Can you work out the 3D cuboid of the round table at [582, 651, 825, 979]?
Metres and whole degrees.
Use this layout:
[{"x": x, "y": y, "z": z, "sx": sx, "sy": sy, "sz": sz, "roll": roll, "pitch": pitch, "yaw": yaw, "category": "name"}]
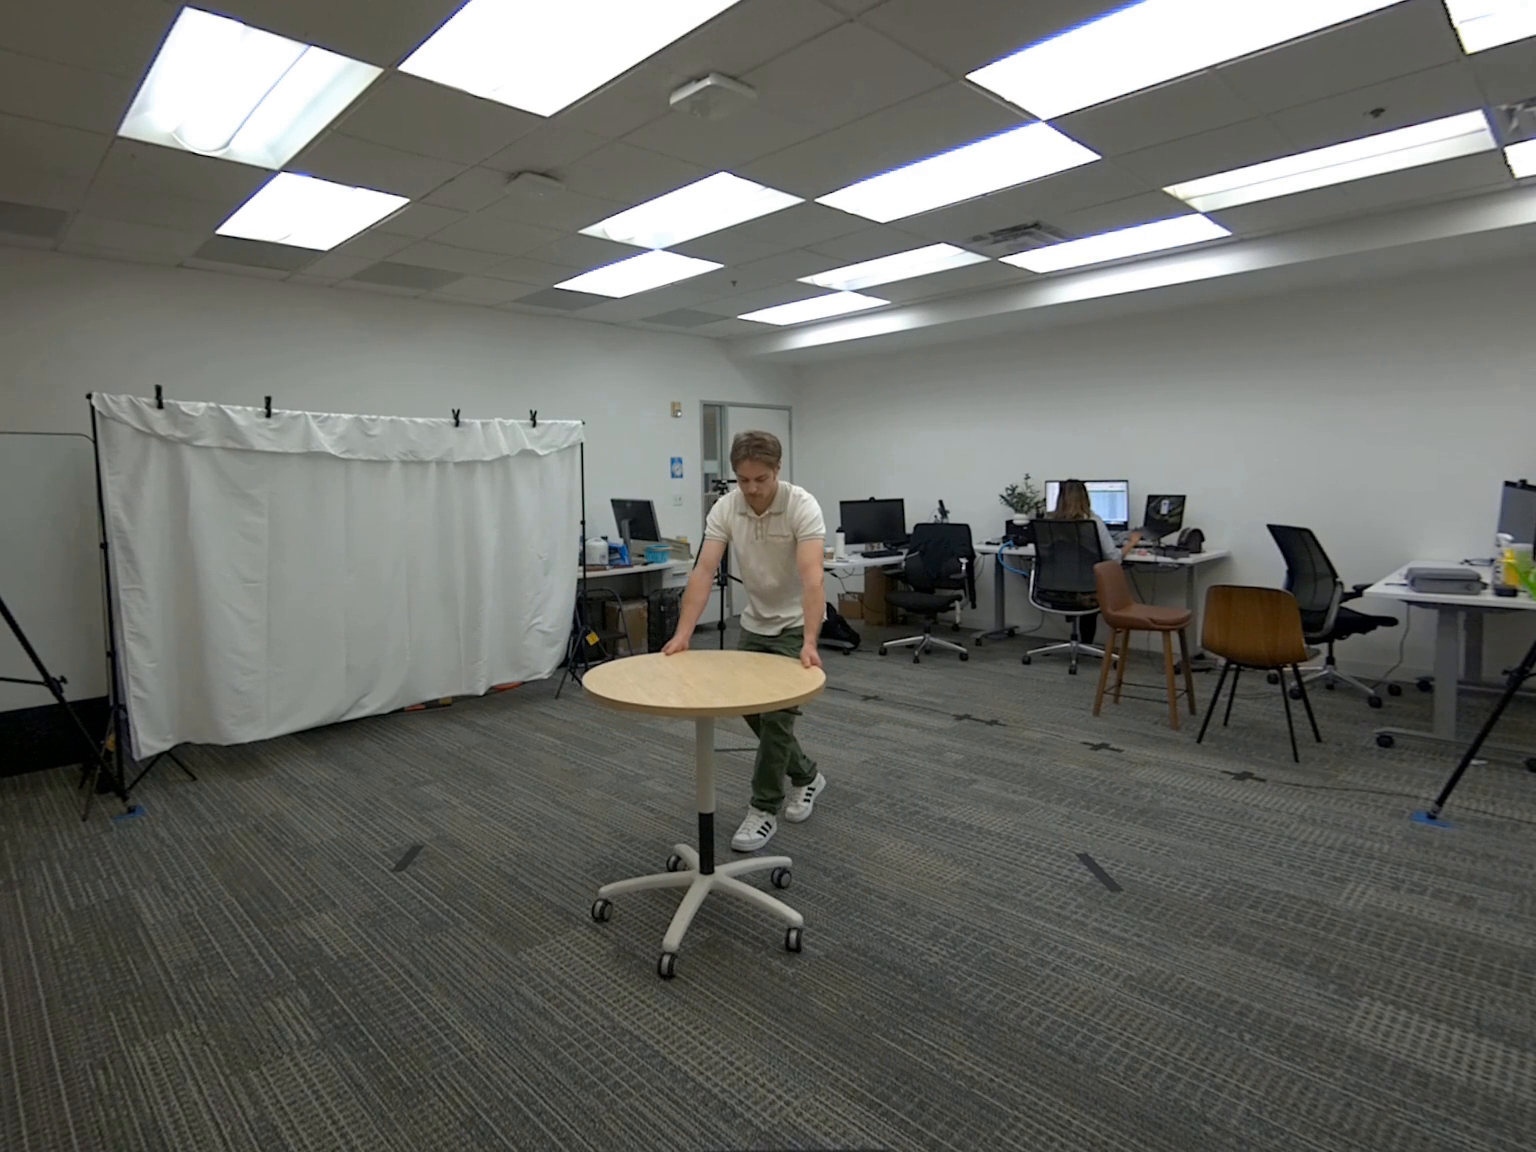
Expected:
[{"x": -0.196, "y": 0.699, "z": 2.743, "sx": 0.784, "sy": 0.783, "sz": 0.790, "roll": -1, "pitch": 6, "yaw": -2, "category": "round table"}]
